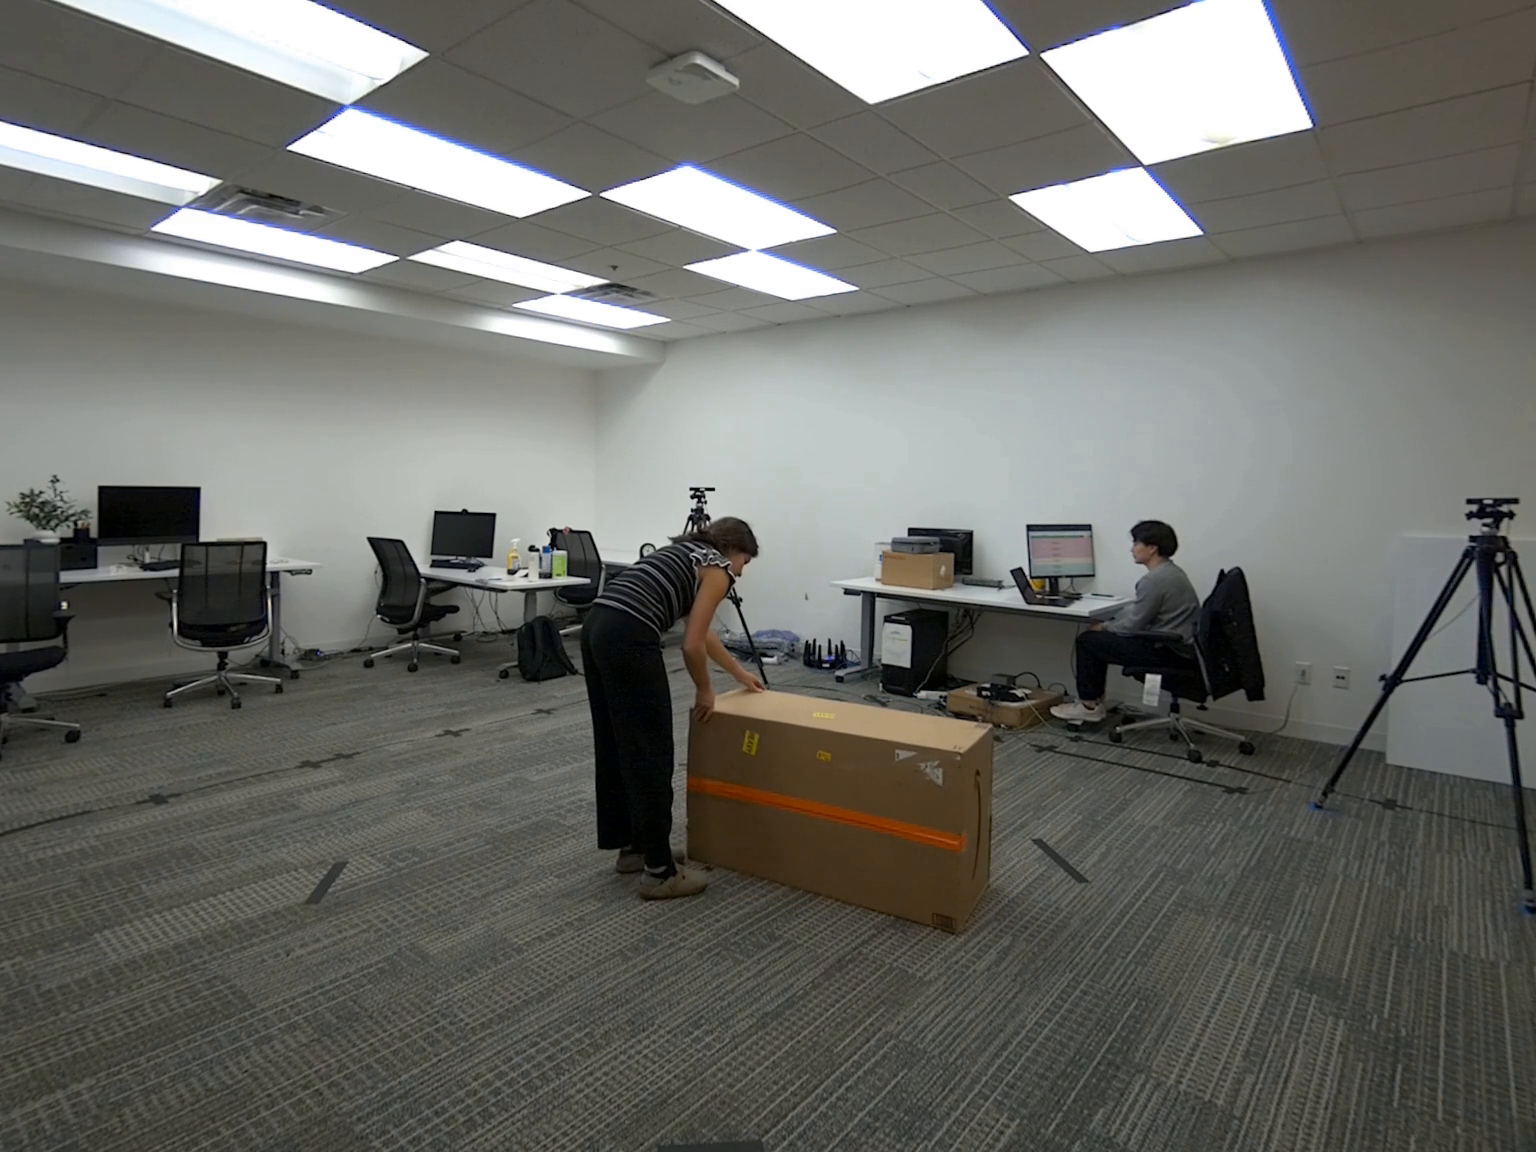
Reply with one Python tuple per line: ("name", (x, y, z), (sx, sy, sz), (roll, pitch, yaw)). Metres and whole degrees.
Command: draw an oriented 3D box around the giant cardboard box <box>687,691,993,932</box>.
("giant cardboard box", (0.242, 0.787, 3.105), (1.056, 0.576, 0.415), (4, 4, 30))
